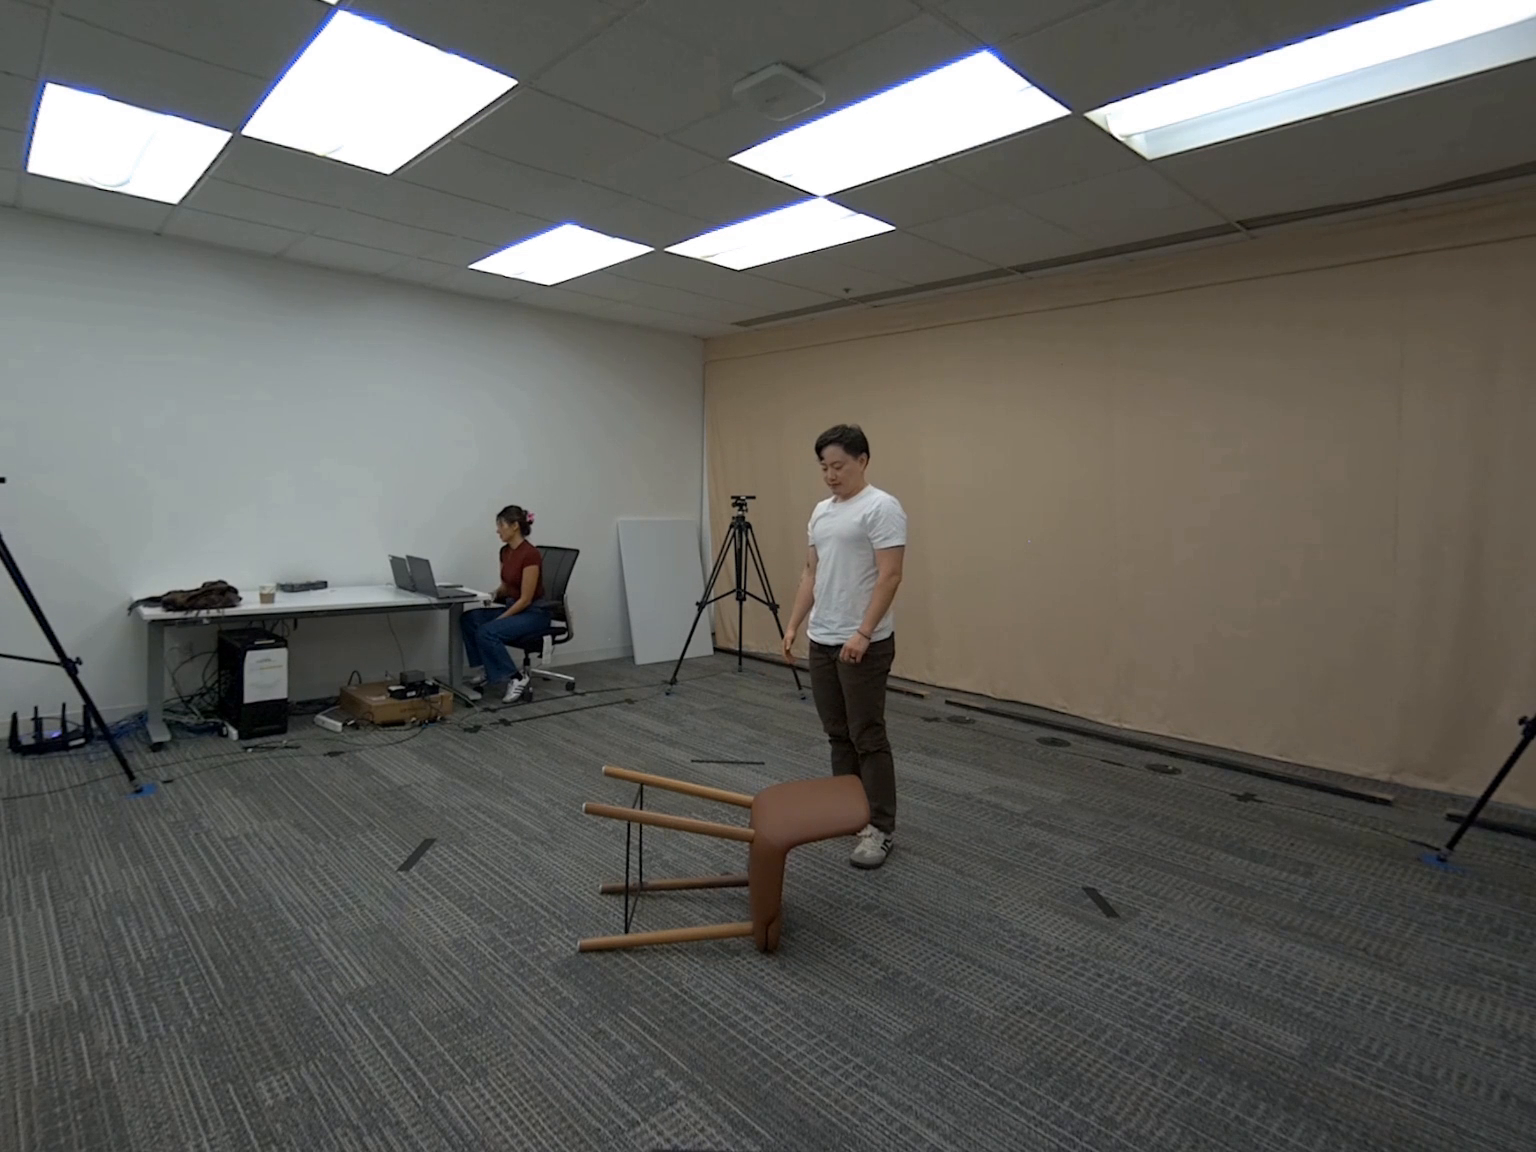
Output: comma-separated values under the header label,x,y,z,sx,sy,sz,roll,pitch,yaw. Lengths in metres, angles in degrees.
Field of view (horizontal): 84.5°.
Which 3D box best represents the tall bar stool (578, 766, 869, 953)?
label,x,y,z,sx,sy,sz,roll,pitch,yaw
tall bar stool,-0.139,0.906,2.729,0.890,0.466,0.457,0,4,1
